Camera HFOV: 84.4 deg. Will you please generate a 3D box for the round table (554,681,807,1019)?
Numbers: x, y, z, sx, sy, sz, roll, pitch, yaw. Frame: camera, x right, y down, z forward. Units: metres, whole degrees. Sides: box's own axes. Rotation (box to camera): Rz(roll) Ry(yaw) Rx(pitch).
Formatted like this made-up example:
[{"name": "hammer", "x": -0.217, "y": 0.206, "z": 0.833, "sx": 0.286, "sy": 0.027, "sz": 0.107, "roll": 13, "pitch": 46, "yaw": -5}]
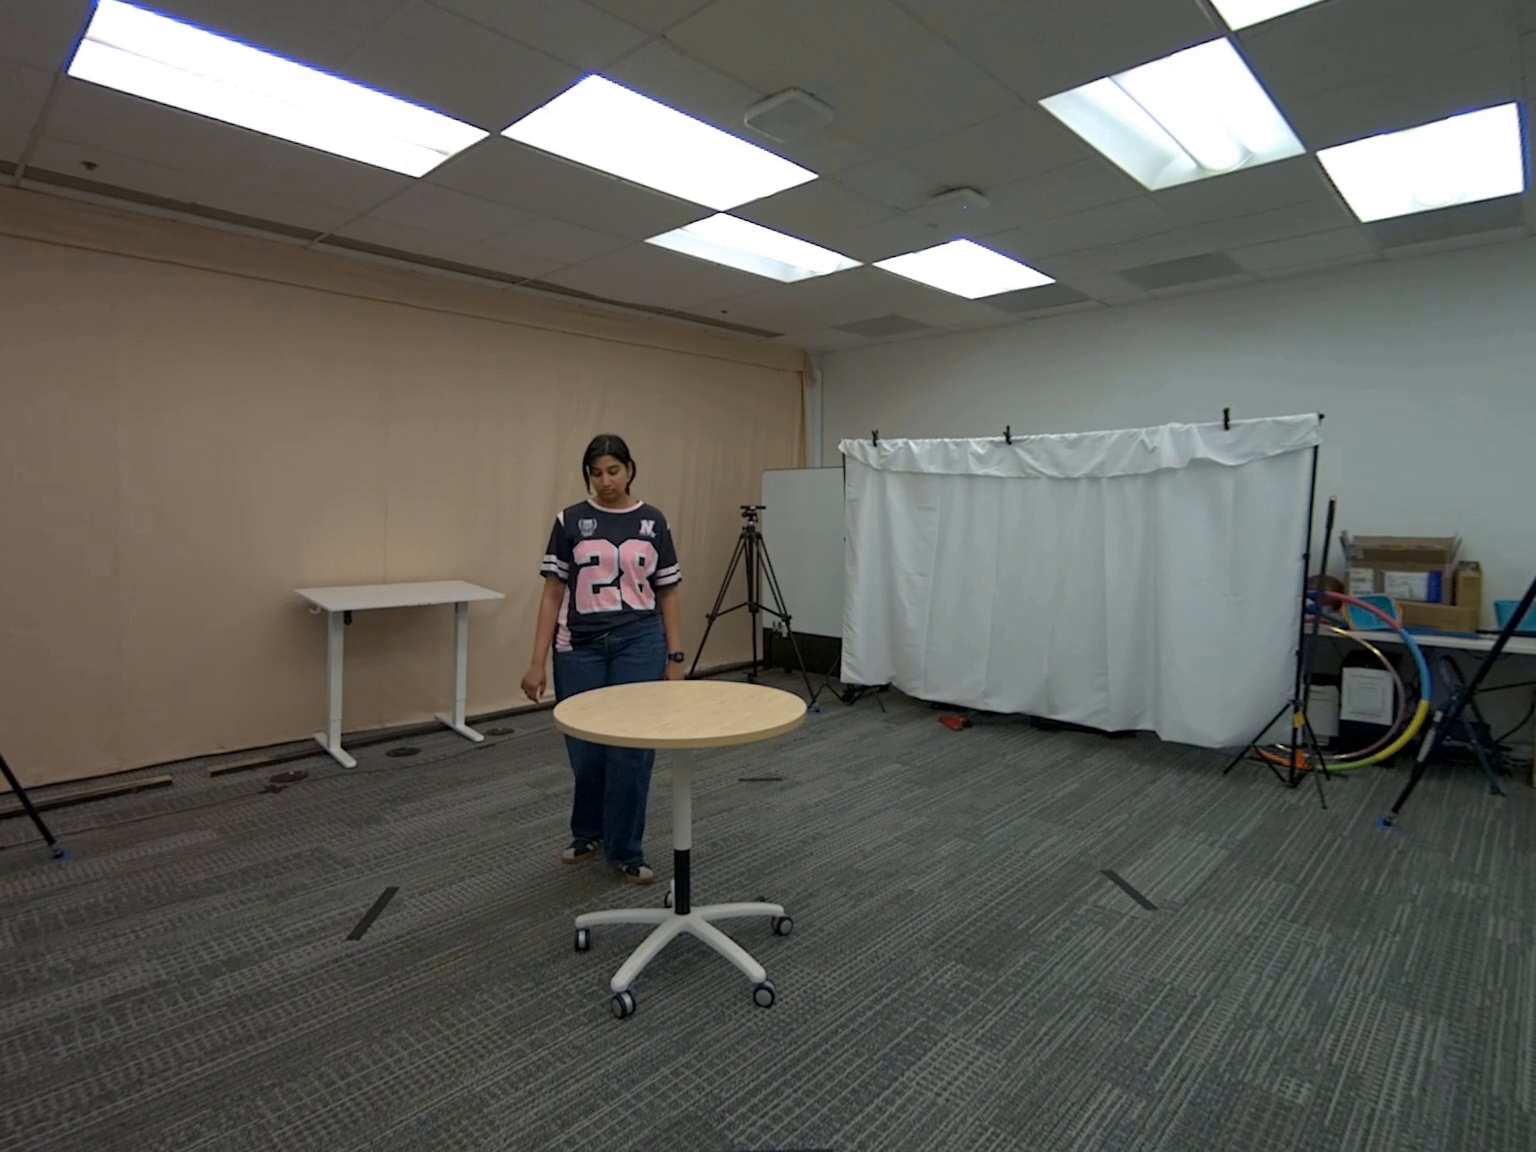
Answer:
[{"name": "round table", "x": -0.258, "y": 0.791, "z": 2.579, "sx": 0.763, "sy": 0.792, "sz": 0.766, "roll": -1, "pitch": 4, "yaw": -2}]
